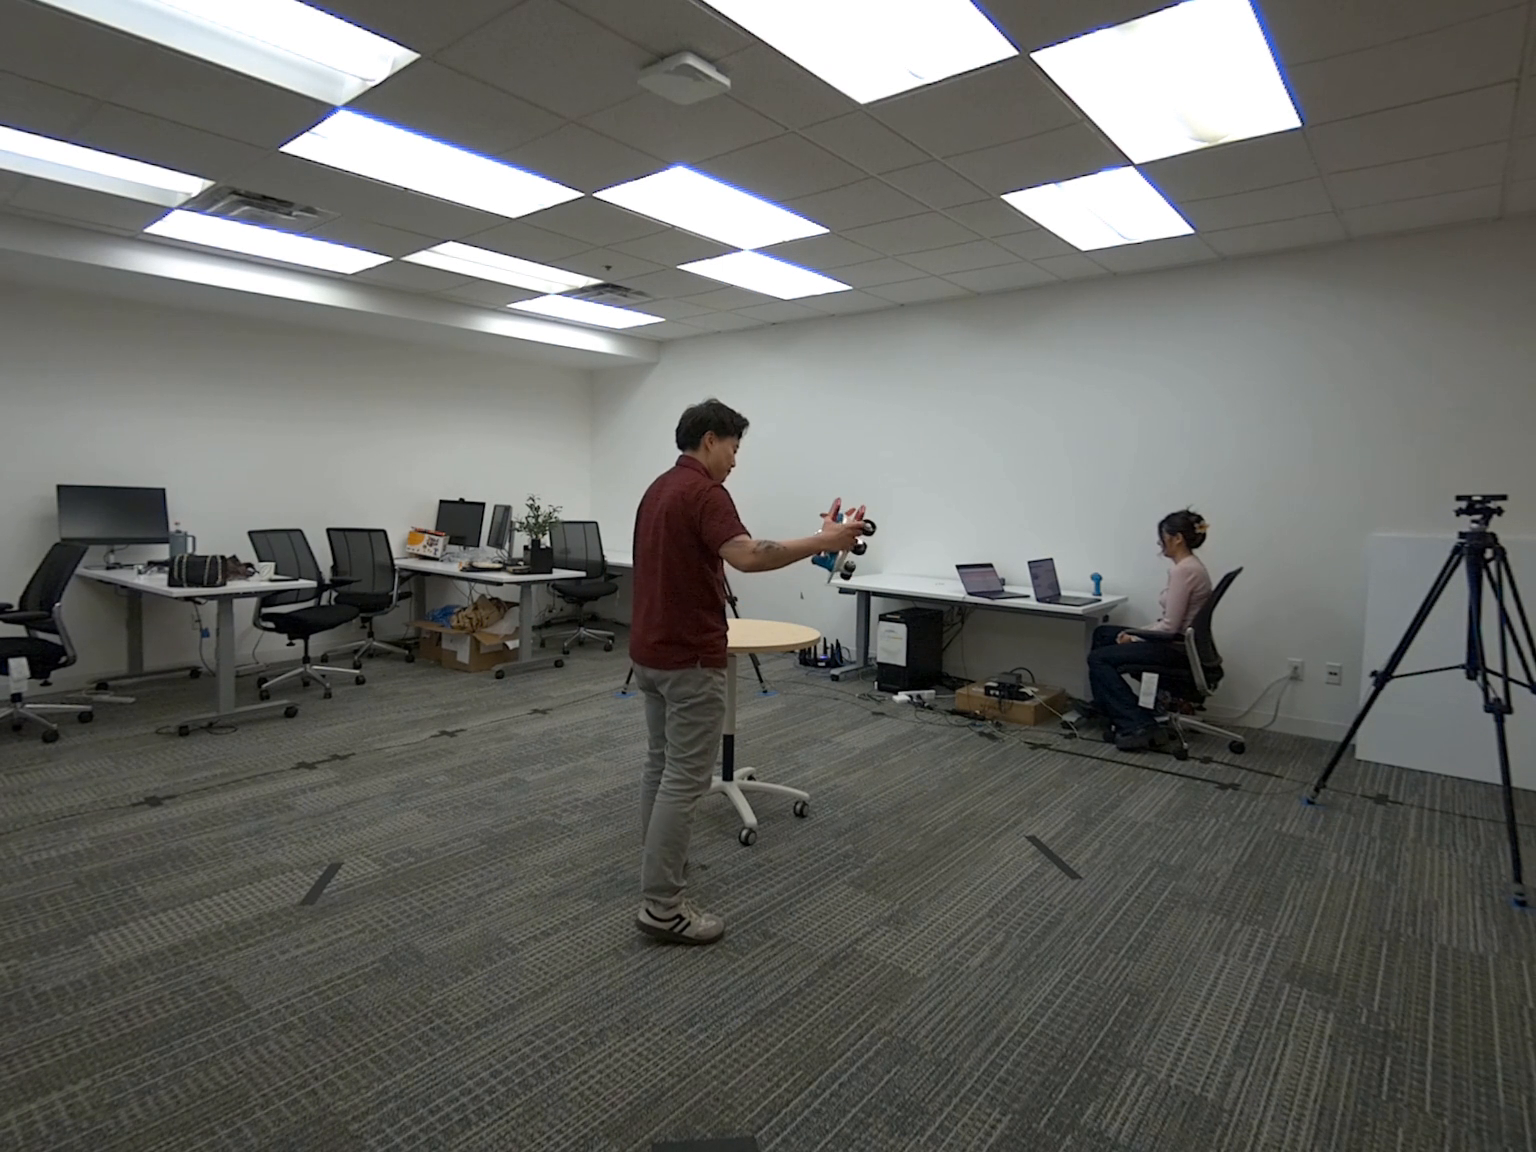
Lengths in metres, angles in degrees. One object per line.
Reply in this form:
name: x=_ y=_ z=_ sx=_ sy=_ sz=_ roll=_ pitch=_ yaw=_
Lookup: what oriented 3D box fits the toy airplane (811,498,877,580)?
toy airplane: x=0.218 y=-0.100 z=2.618 sx=0.159 sy=0.249 sz=0.257 roll=26 pitch=15 yaw=8
